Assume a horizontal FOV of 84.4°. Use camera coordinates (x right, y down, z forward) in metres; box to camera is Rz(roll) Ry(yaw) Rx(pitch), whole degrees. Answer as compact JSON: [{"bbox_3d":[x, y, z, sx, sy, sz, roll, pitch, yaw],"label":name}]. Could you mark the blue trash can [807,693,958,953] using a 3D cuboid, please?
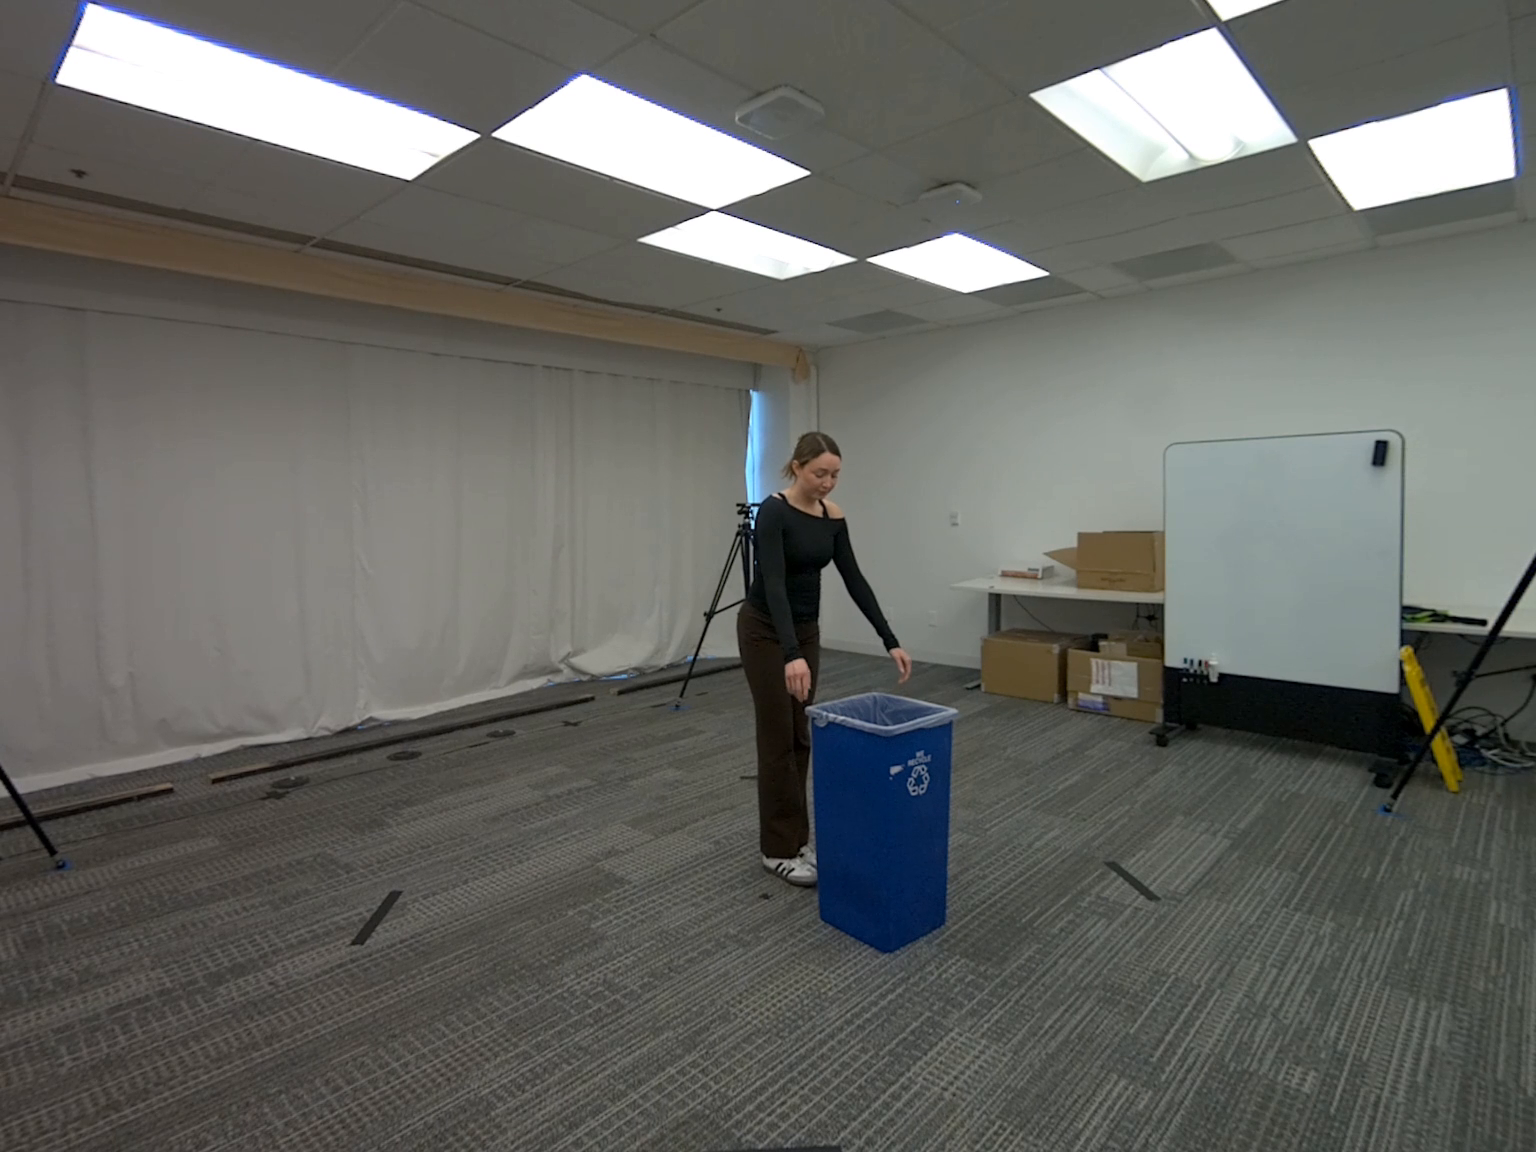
[{"bbox_3d":[0.384,0.790,2.778,0.363,0.712,0.390,-4,5,-40],"label":"blue trash can"}]
